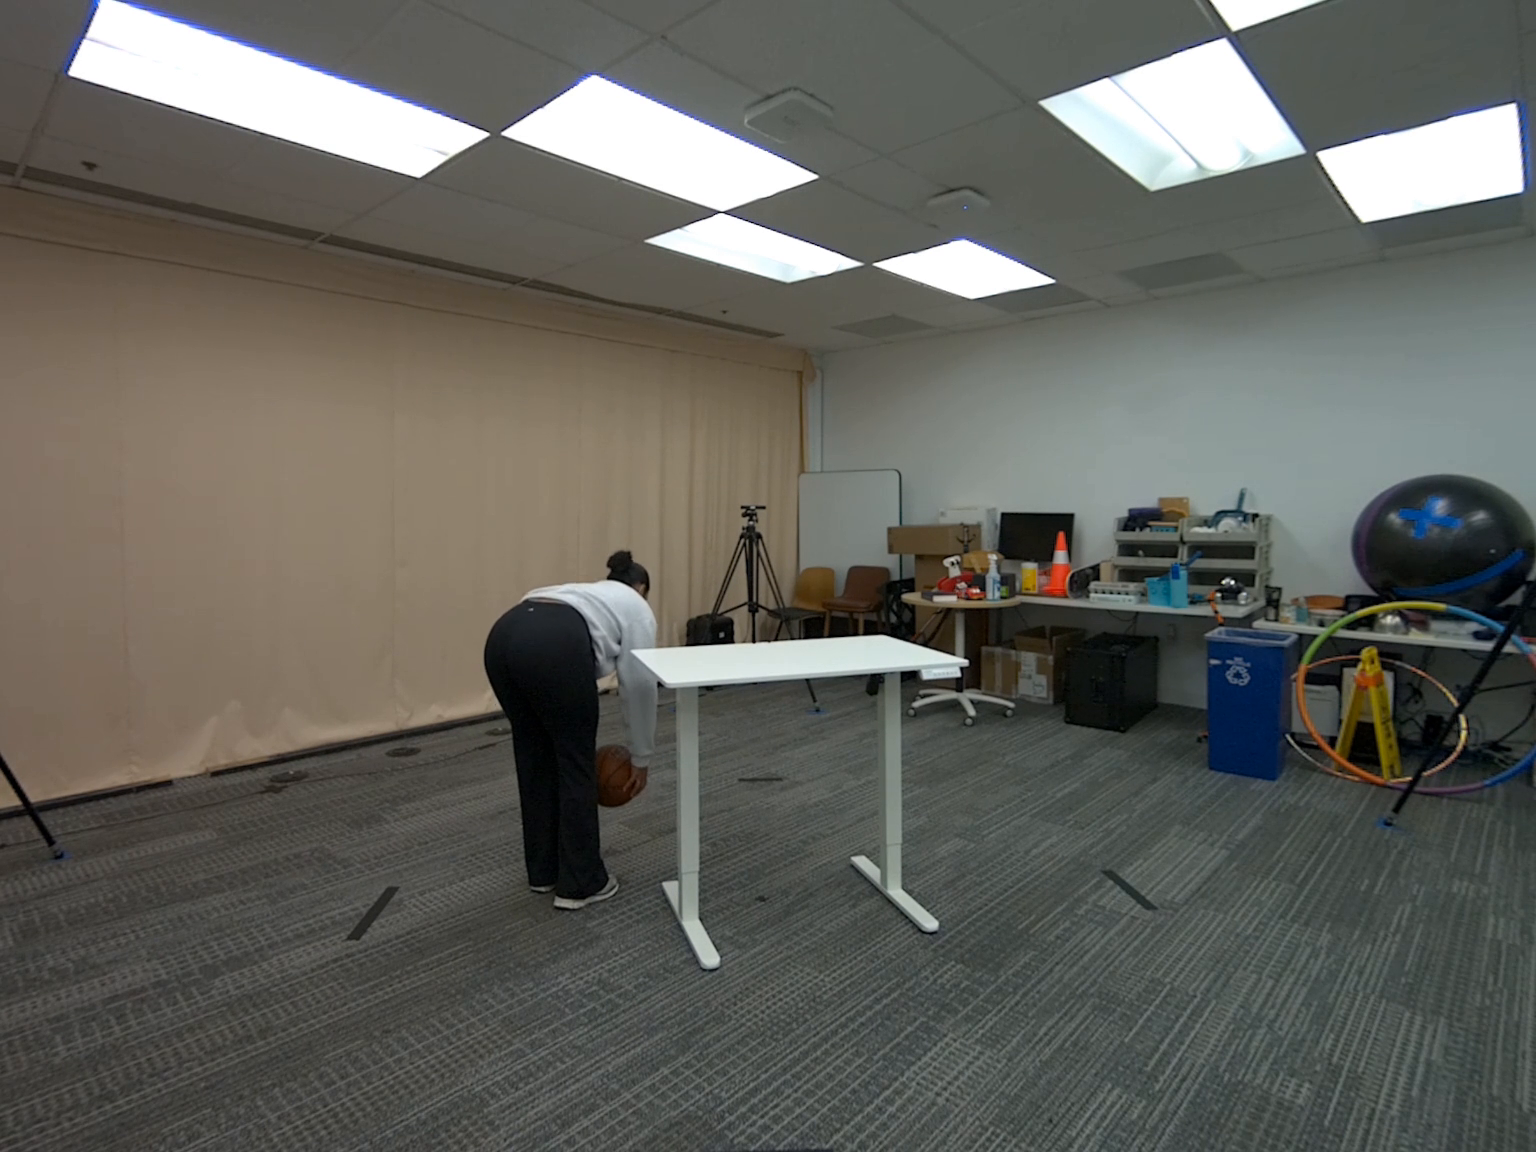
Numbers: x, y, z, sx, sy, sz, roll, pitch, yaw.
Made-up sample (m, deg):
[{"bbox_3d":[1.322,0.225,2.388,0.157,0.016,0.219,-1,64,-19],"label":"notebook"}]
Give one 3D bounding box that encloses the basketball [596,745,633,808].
[{"bbox_3d":[-0.606,0.772,3.291,0.236,0.235,0.237,0,4,-2],"label":"basketball"}]
